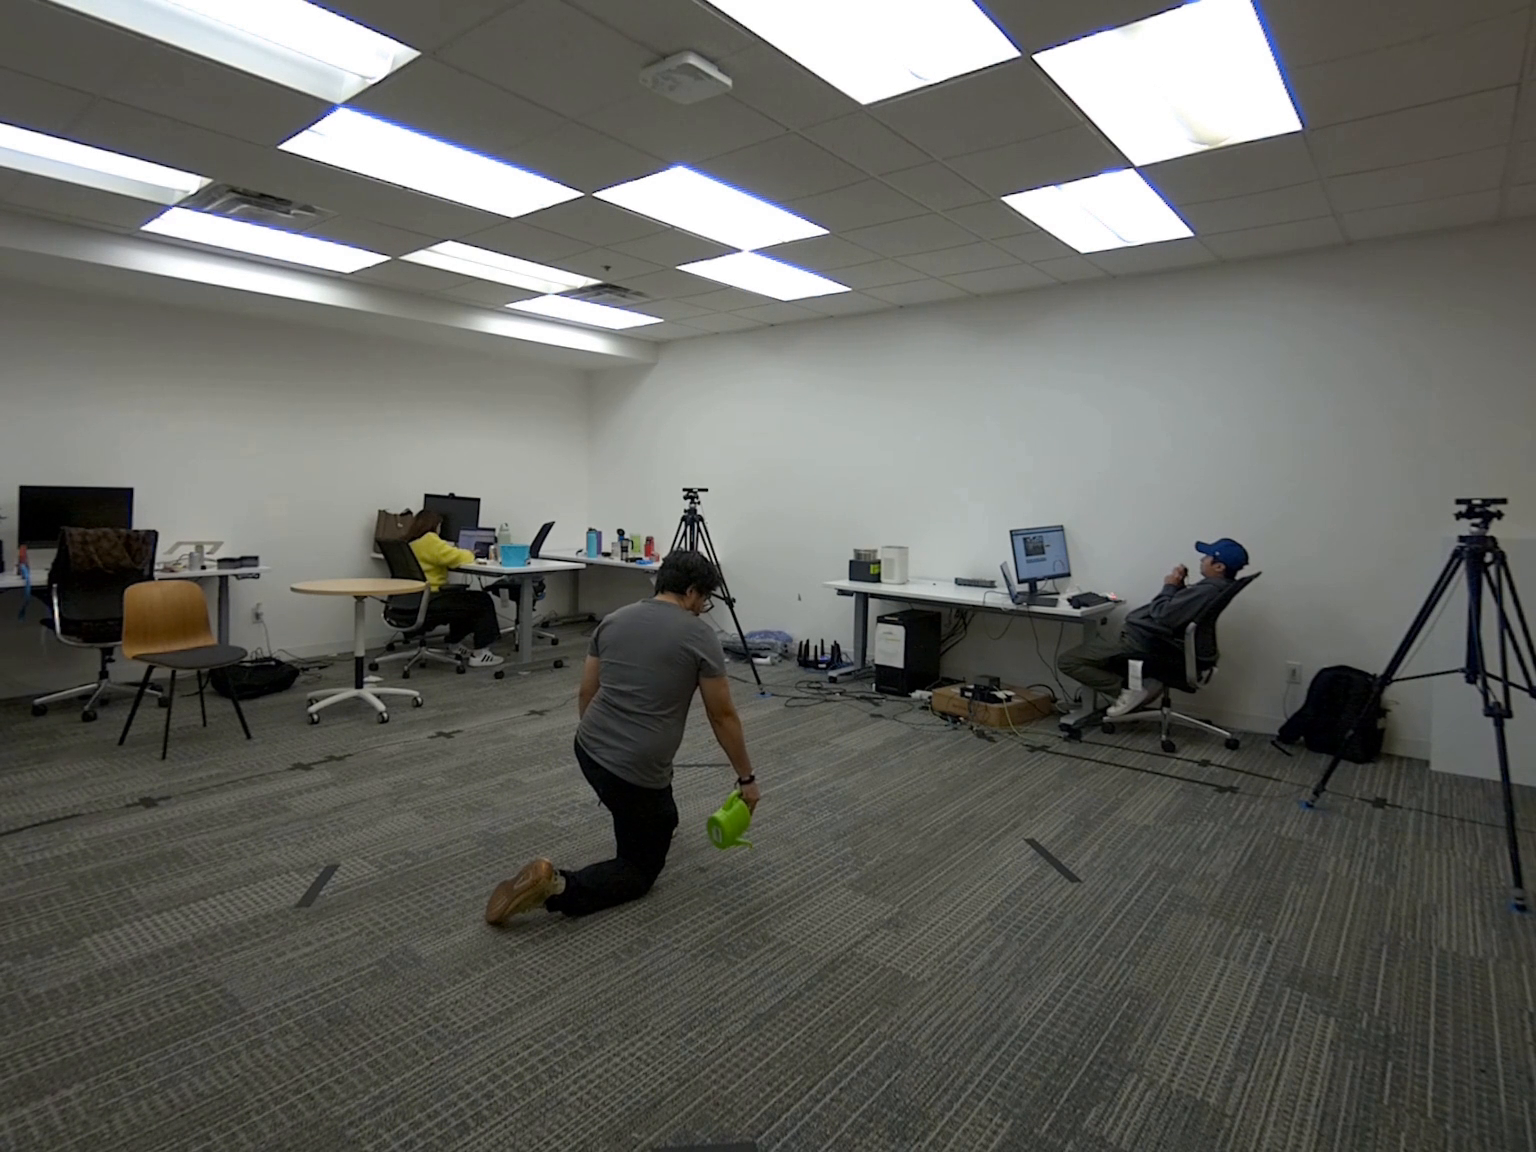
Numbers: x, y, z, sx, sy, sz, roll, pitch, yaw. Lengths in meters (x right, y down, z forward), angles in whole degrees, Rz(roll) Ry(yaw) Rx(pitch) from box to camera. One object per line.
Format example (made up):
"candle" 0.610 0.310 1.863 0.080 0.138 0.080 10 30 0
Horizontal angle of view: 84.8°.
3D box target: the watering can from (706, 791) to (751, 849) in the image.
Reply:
"watering can" -0.125 0.895 2.980 0.101 0.274 0.174 -5 16 42
